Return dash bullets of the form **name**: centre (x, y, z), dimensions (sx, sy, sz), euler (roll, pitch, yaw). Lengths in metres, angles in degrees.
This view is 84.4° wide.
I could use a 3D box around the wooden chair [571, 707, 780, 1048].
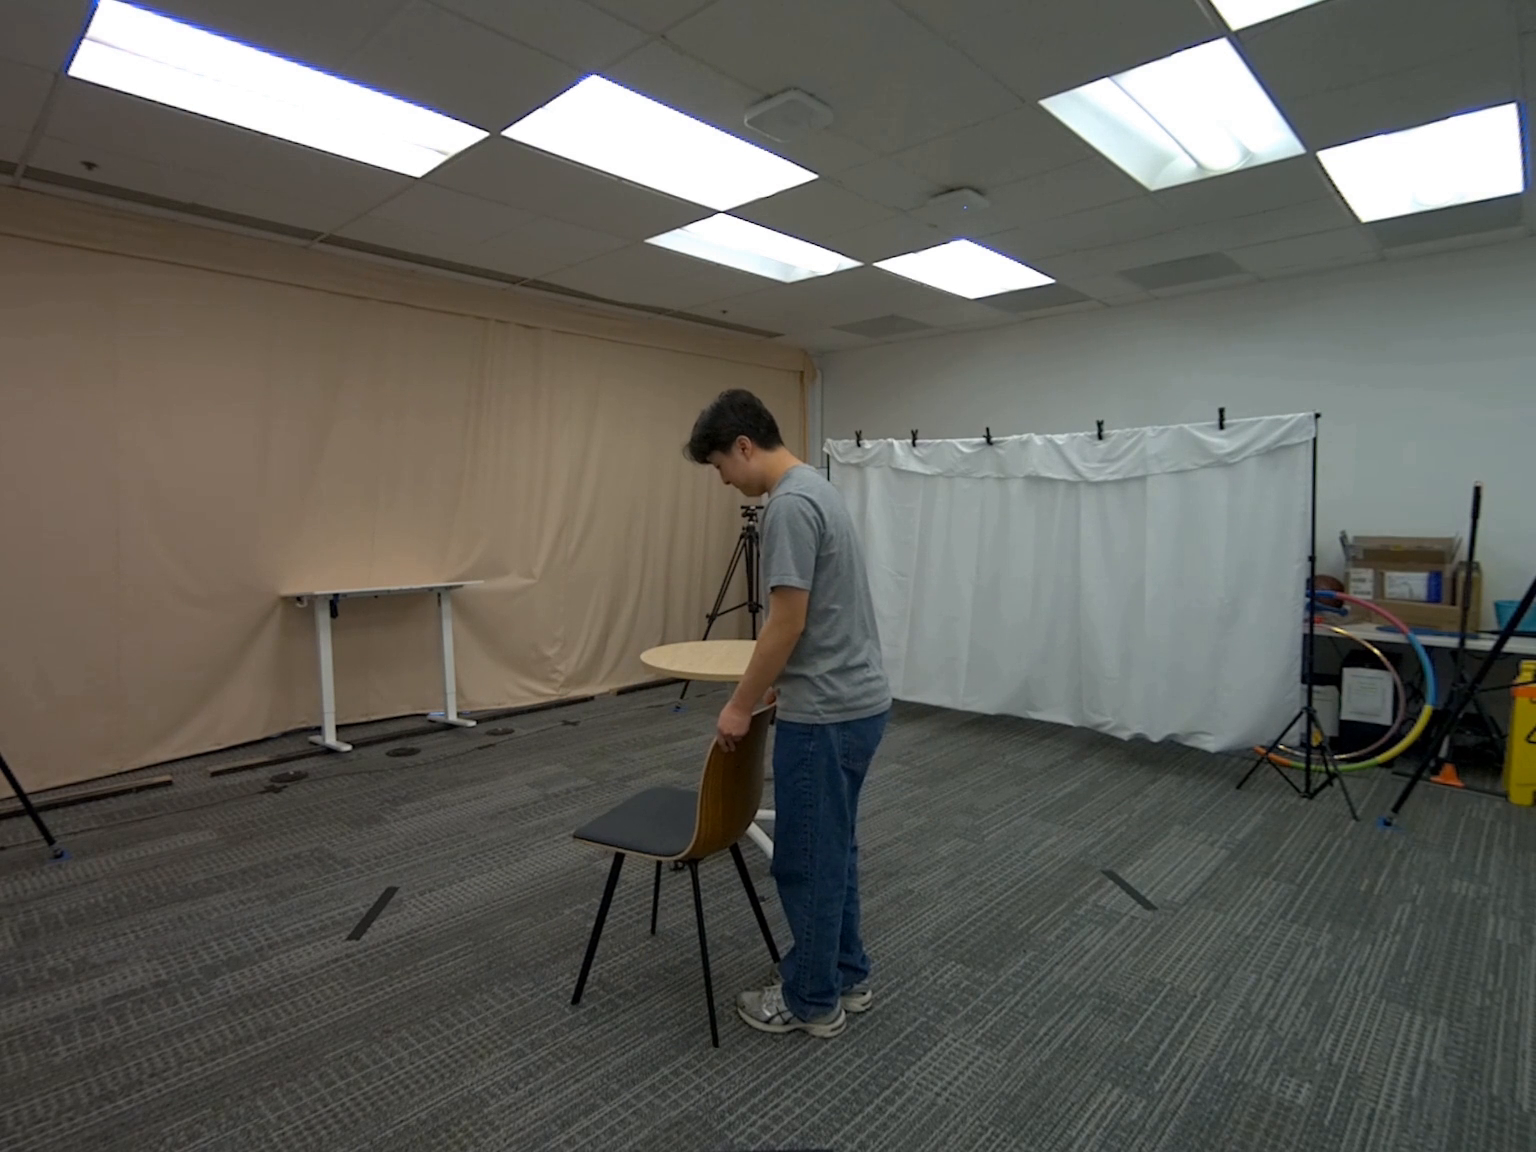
- **wooden chair**: centre (-0.265, 0.760, 2.438), dimensions (0.537, 0.874, 0.467), euler (6, 6, 24)
